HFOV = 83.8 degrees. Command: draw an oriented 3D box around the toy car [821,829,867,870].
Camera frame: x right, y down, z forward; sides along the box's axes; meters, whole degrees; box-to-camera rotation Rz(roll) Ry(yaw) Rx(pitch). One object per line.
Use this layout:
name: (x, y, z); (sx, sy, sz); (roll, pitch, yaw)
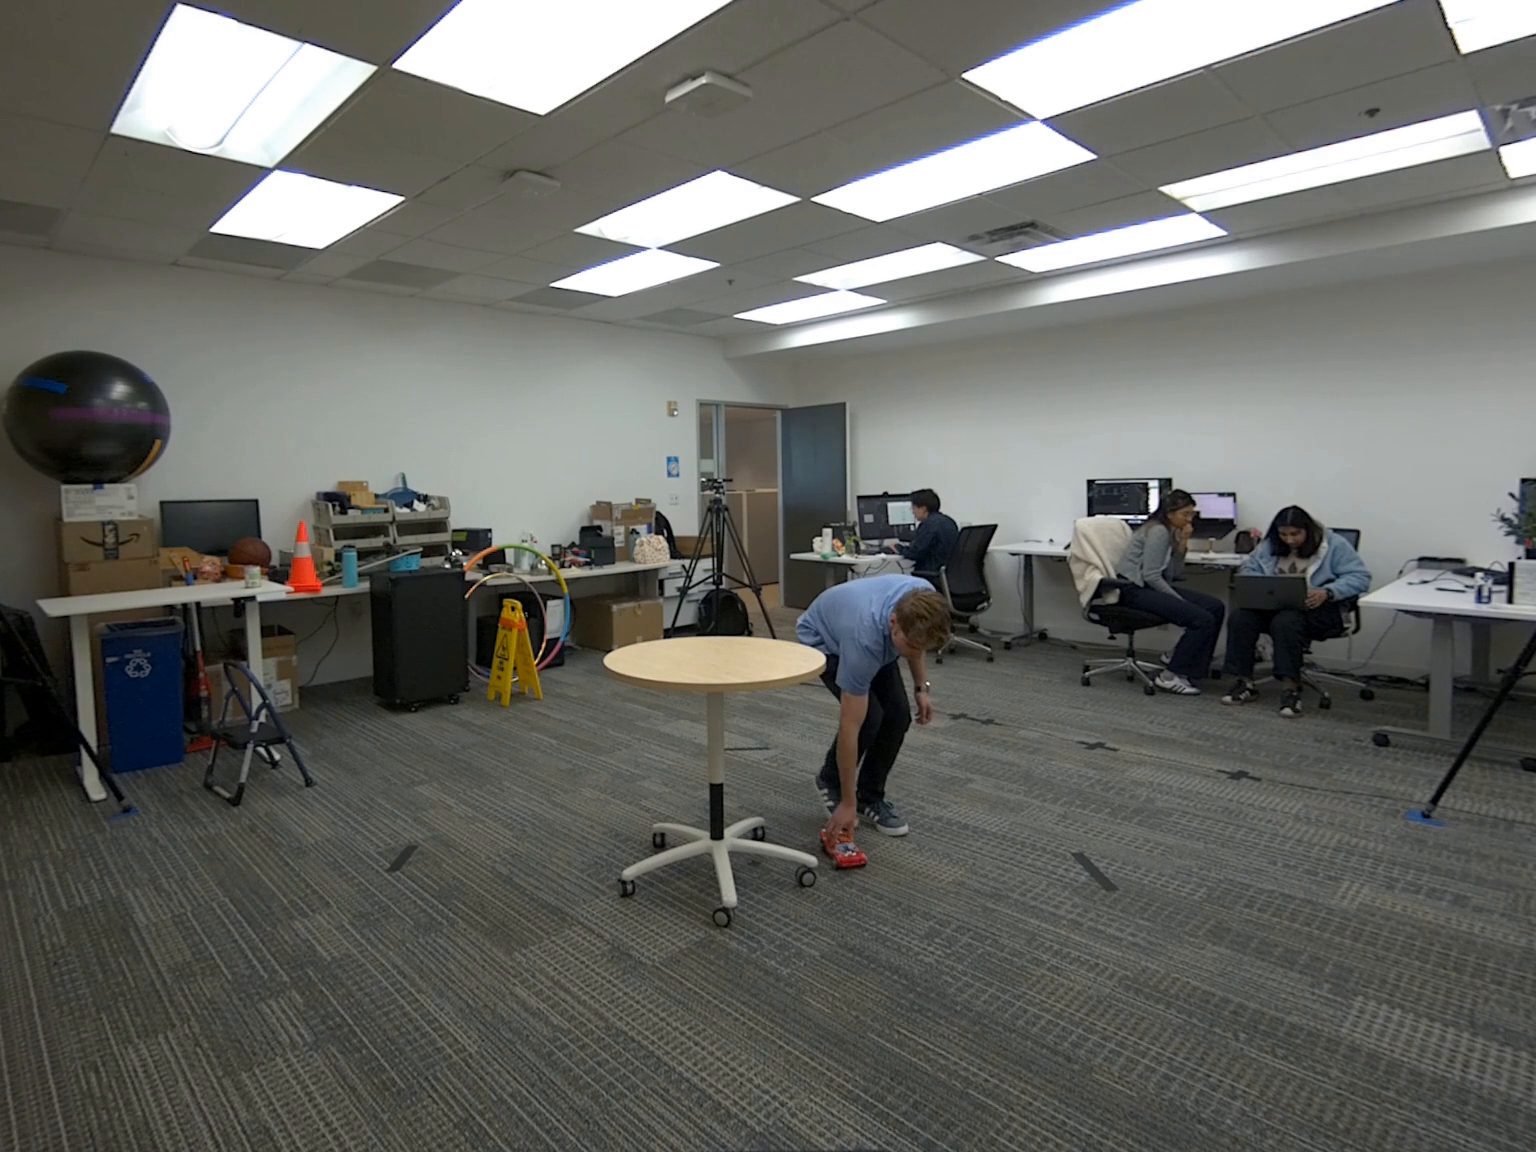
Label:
toy car: (0.272, 1.008, 3.152); (0.129, 0.082, 0.261); (-2, 16, -13)
